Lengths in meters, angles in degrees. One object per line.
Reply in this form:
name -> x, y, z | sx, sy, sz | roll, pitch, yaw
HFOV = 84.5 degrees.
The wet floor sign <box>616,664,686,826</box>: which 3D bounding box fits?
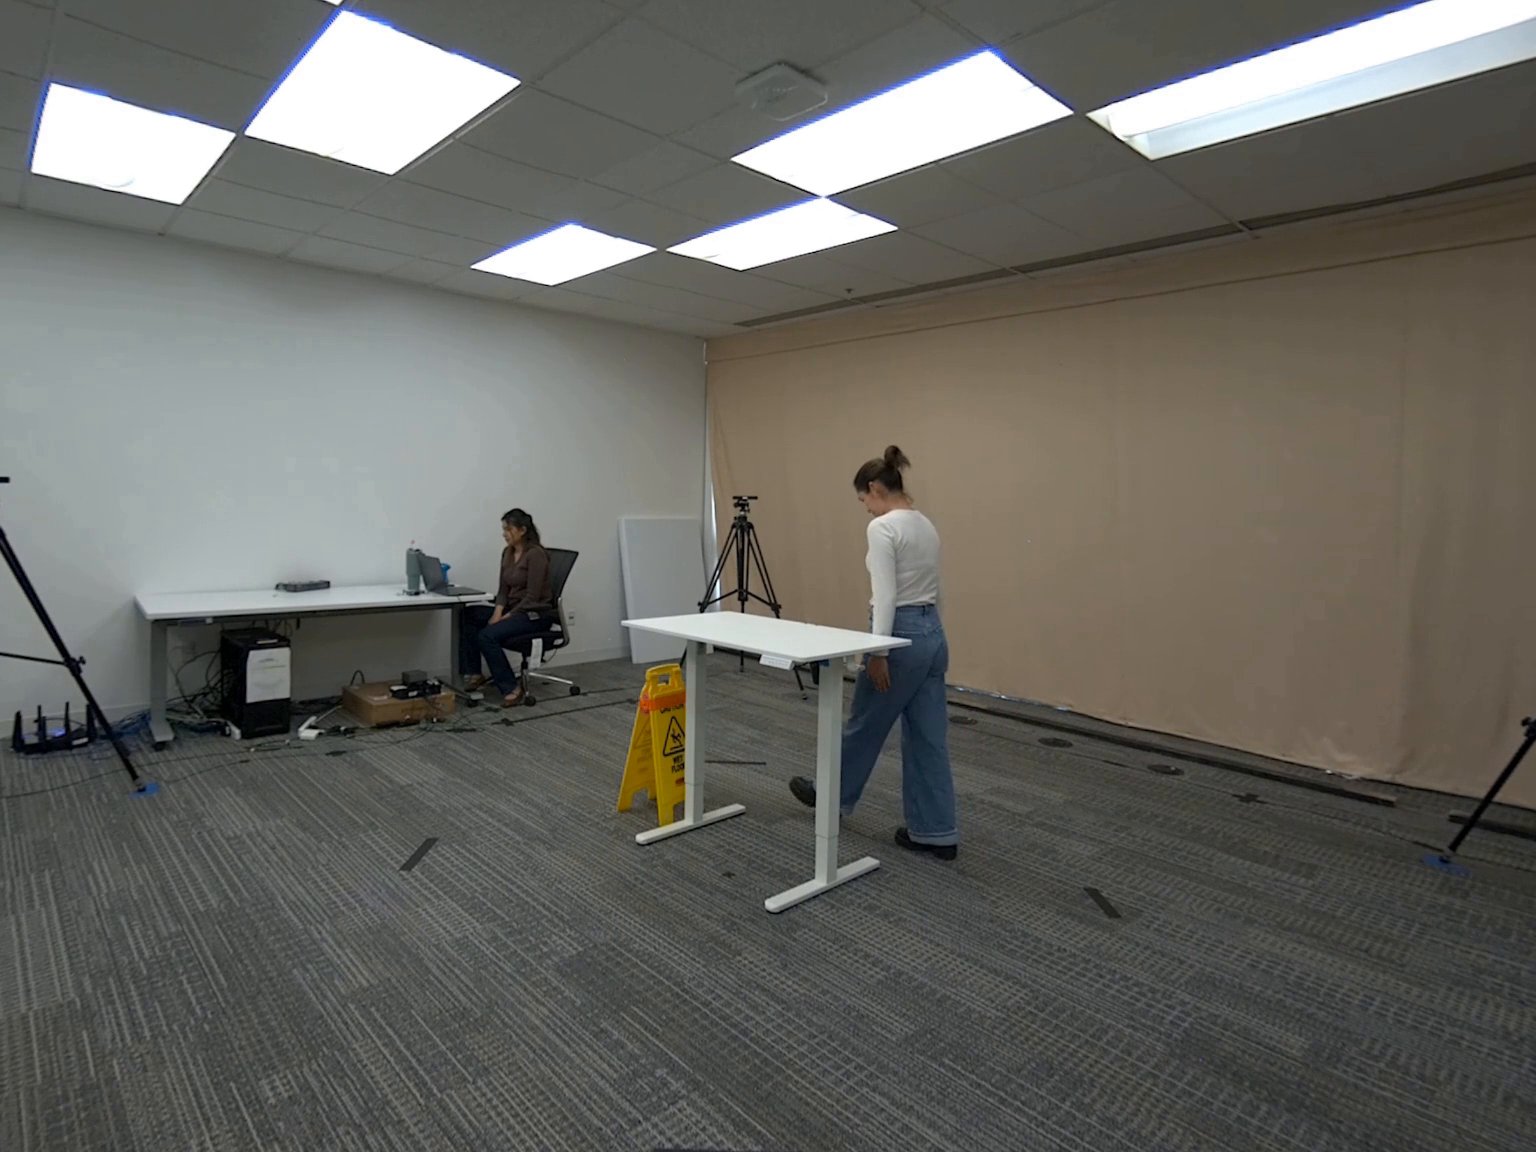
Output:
wet floor sign -> -0.473, 0.715, 3.707 | 0.297, 0.645, 0.276 | 3, 2, 37
